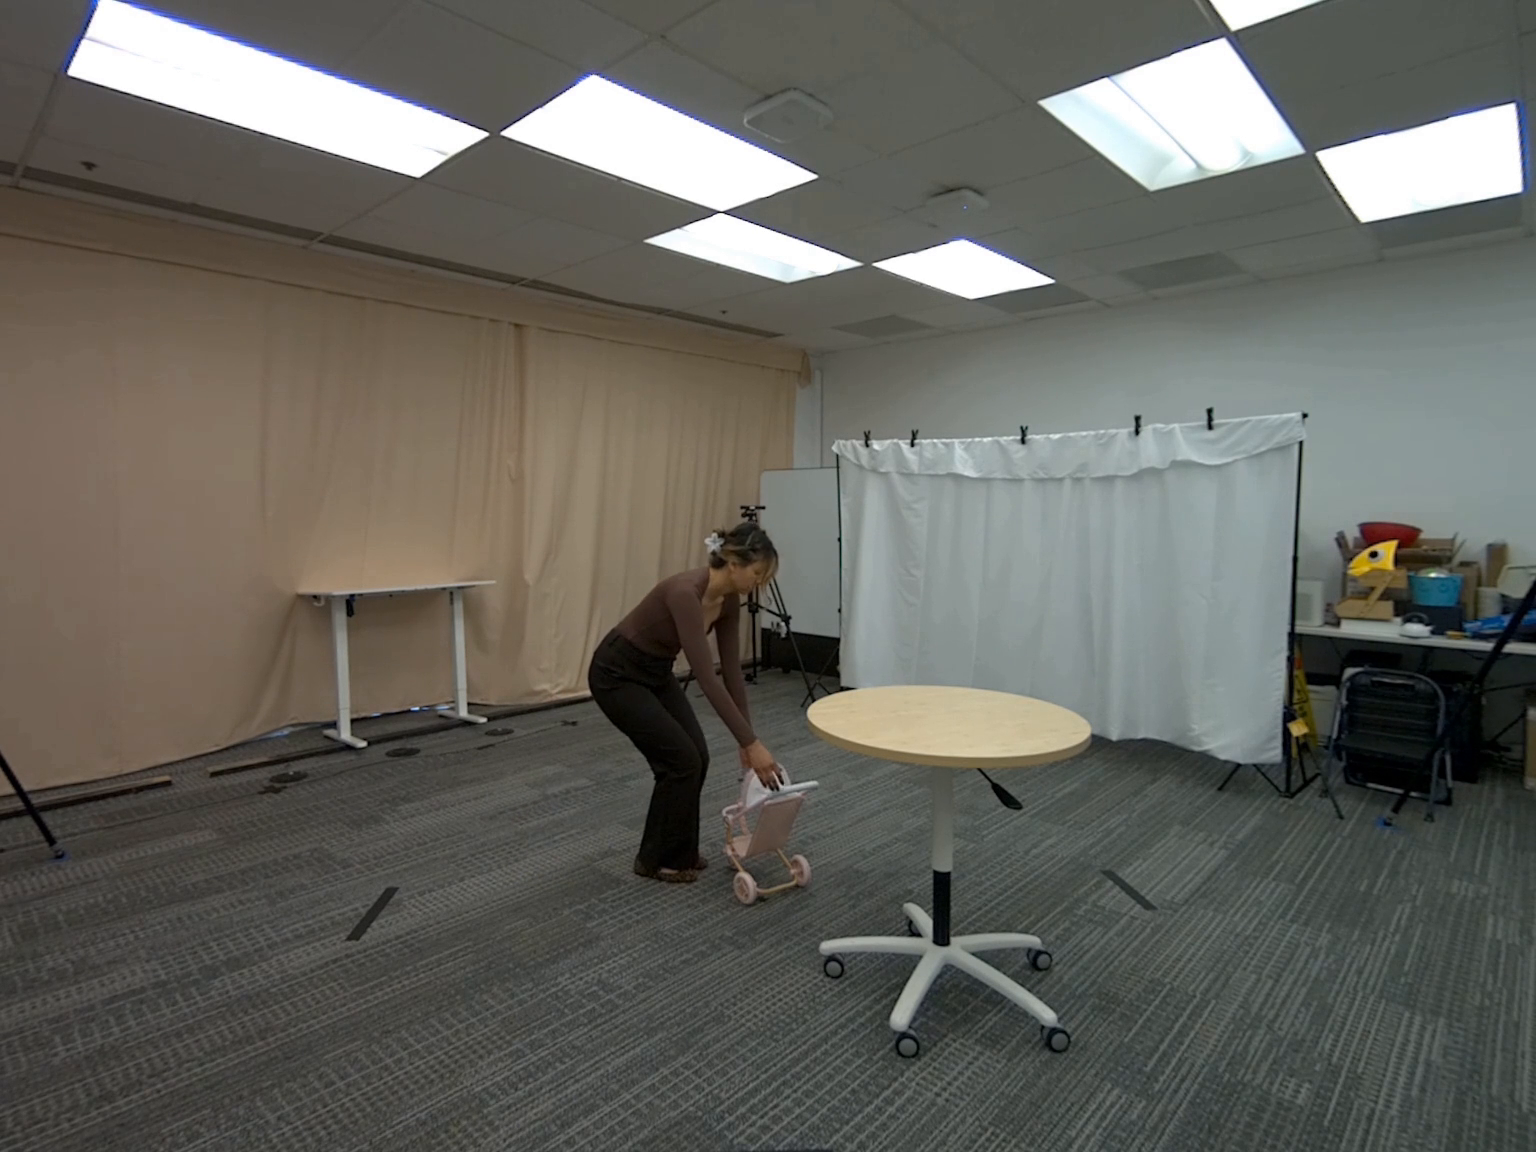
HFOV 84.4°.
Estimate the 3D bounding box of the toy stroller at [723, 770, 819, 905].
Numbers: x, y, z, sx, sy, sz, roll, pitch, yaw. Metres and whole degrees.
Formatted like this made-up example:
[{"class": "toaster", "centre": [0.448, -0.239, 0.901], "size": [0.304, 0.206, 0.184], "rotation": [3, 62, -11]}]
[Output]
[{"class": "toy stroller", "centre": [-0.013, 0.909, 3.063], "size": [0.274, 0.531, 0.353], "rotation": [-2, 18, -31]}]
